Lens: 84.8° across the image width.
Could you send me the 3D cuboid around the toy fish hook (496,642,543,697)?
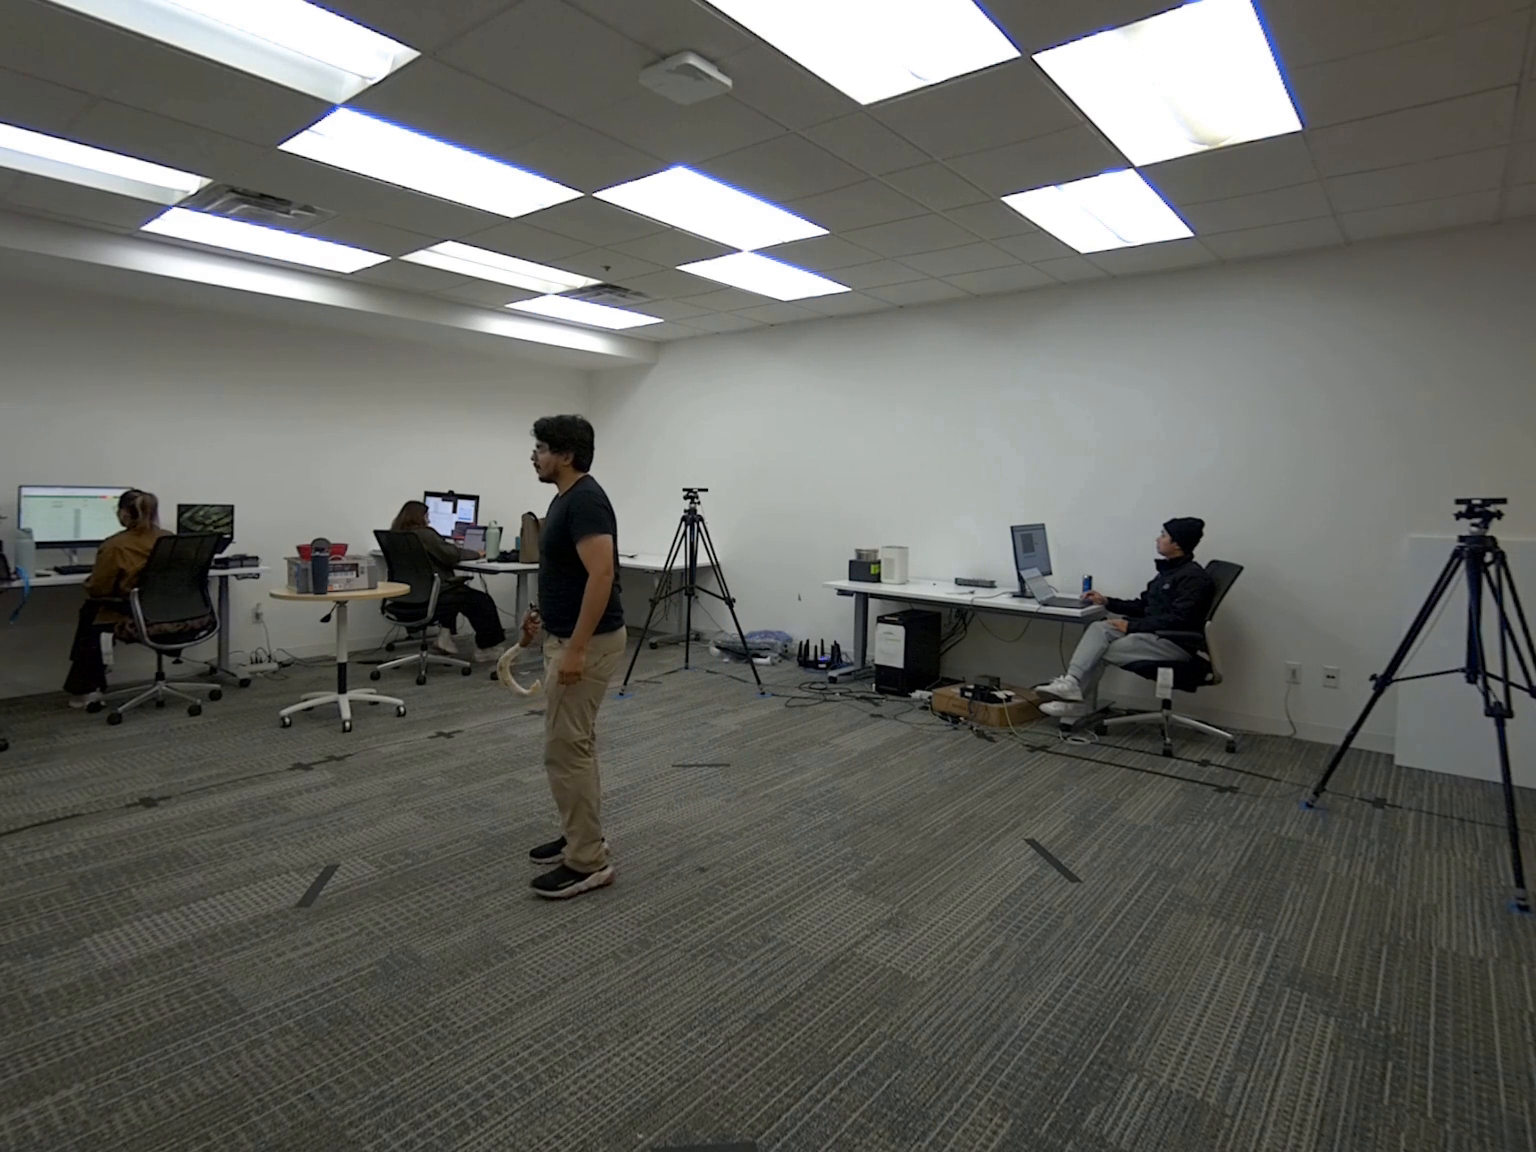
[{"bbox_3d":[-1.046,0.324,3.626,0.227,0.503,0.048,40,39,6],"label":"toy fish hook"}]
